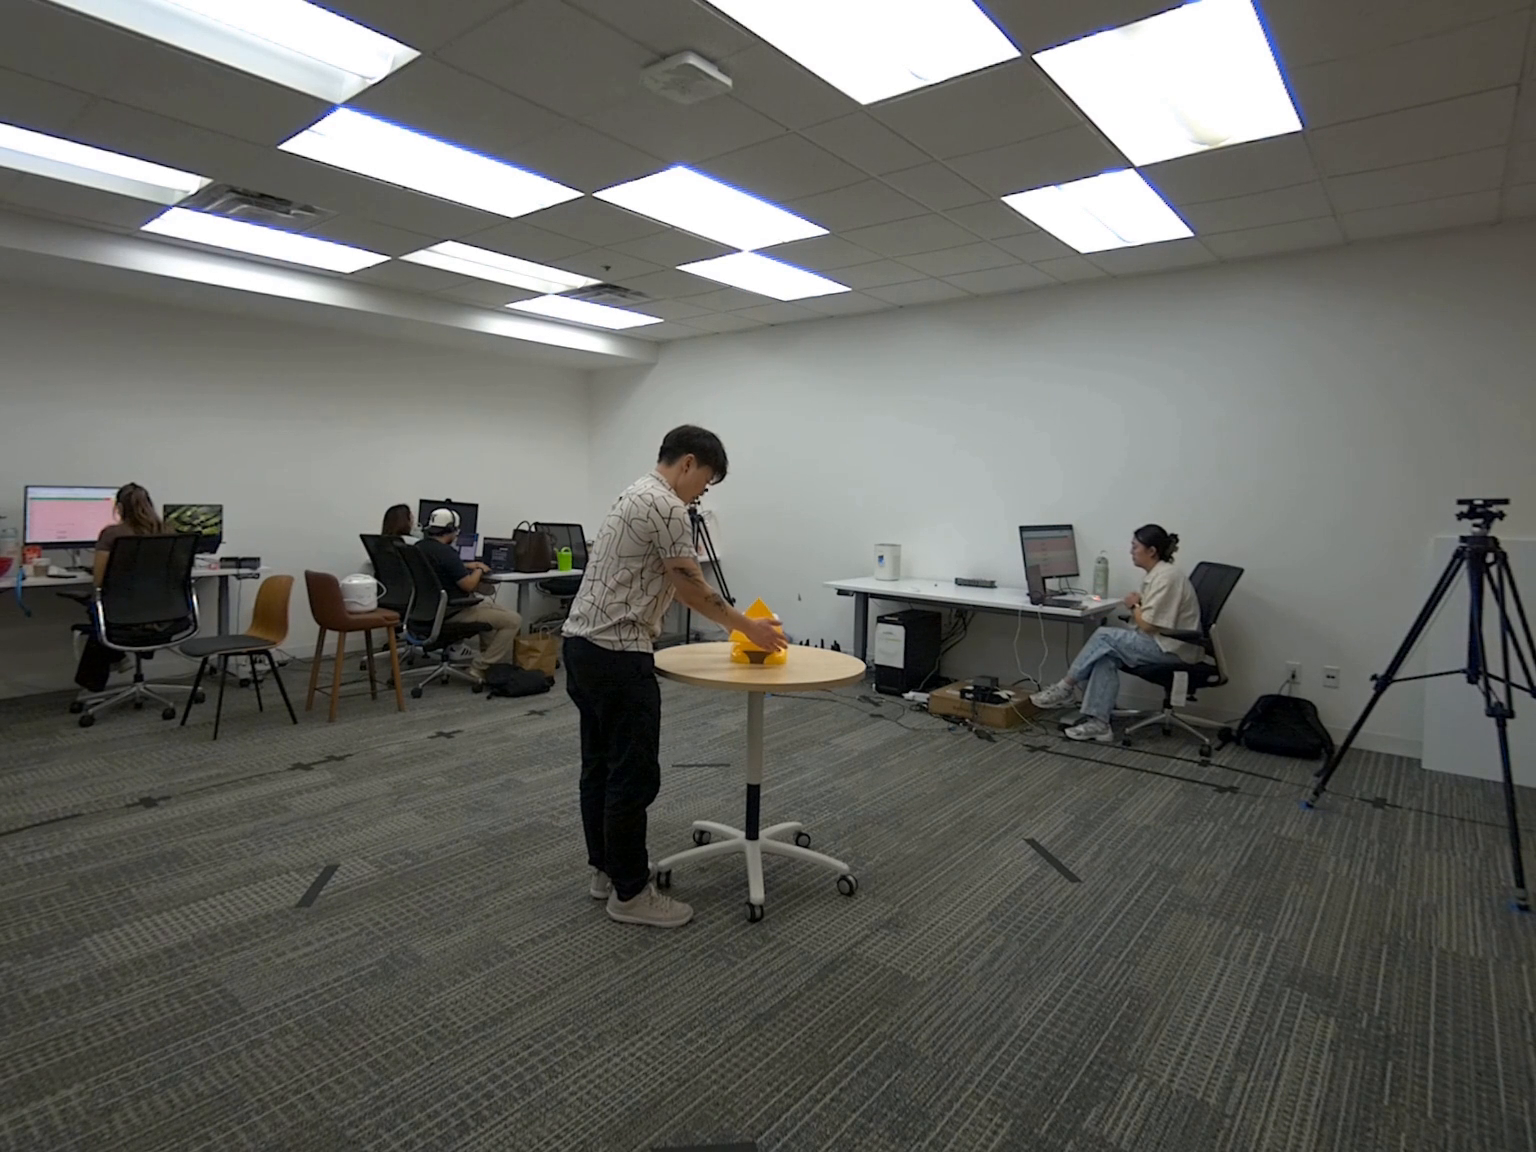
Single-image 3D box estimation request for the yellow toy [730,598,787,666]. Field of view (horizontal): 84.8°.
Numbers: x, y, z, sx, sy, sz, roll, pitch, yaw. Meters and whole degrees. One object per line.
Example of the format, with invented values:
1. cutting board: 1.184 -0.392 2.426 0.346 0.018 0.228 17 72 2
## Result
1. yellow toy: -0.039 0.185 3.030 0.206 0.230 0.192 2 4 6
